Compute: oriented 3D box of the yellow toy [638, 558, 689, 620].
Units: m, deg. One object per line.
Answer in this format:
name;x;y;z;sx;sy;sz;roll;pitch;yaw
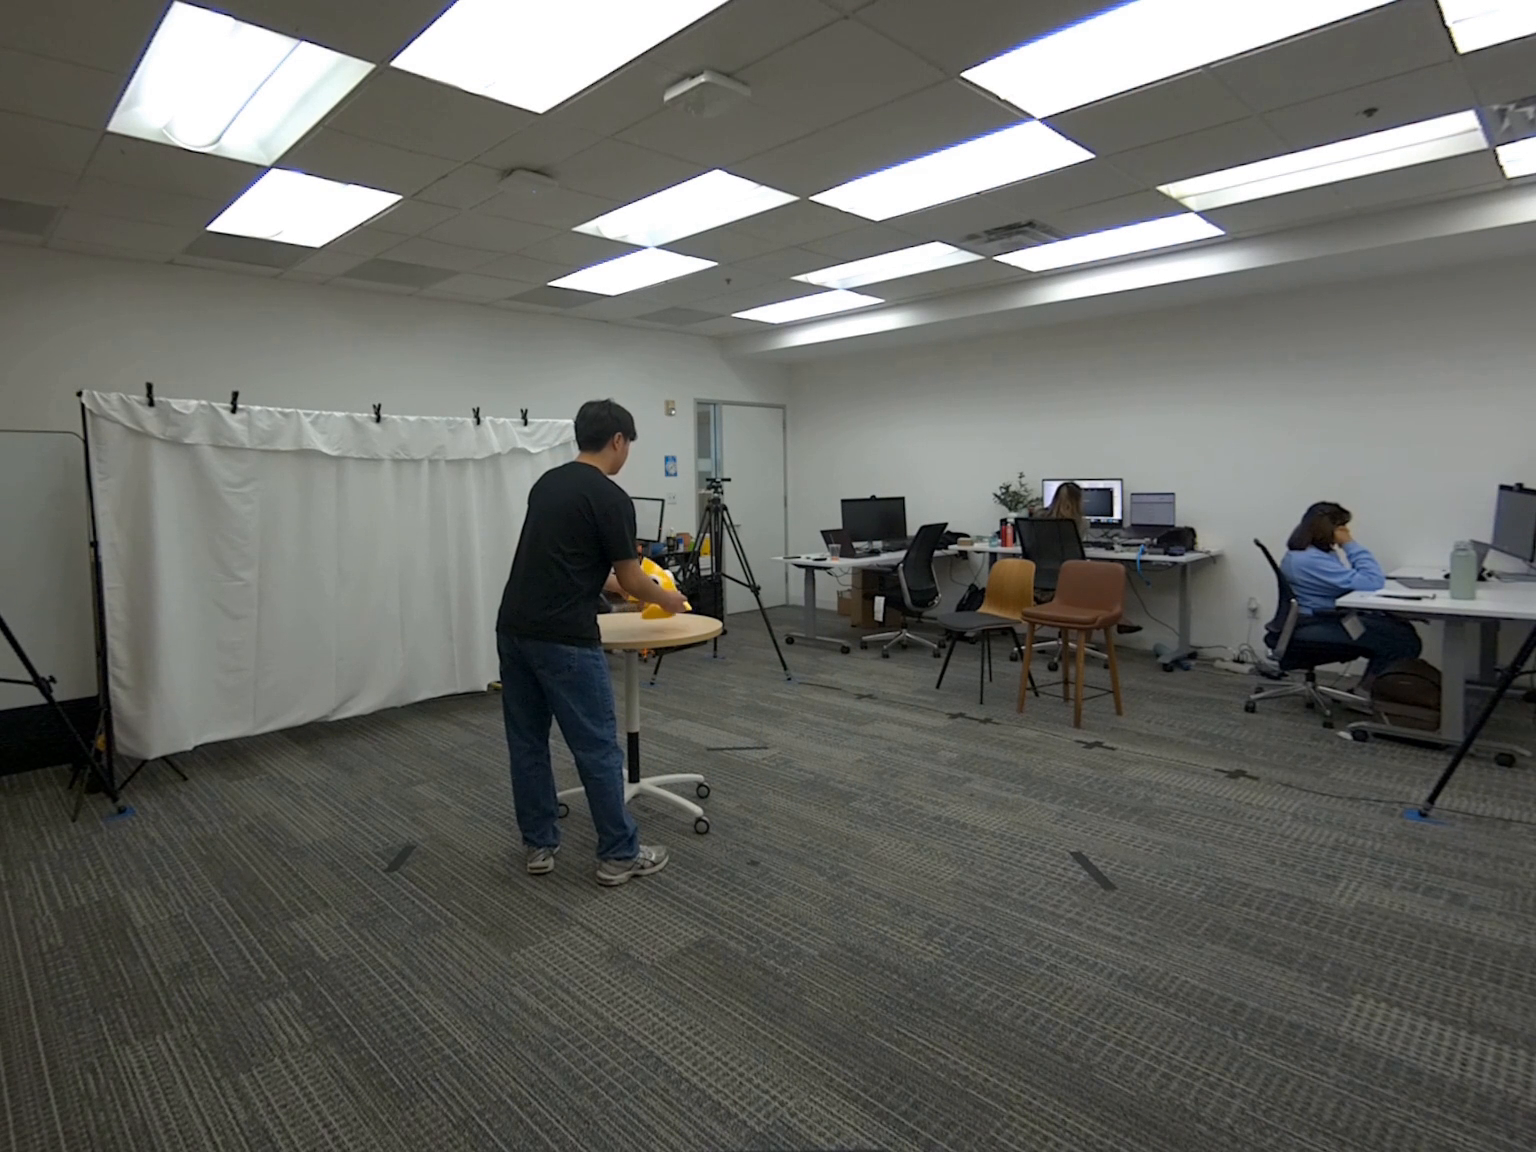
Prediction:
yellow toy;-0.429;0.036;3.413;0.198;0.229;0.201;-3;7;30
